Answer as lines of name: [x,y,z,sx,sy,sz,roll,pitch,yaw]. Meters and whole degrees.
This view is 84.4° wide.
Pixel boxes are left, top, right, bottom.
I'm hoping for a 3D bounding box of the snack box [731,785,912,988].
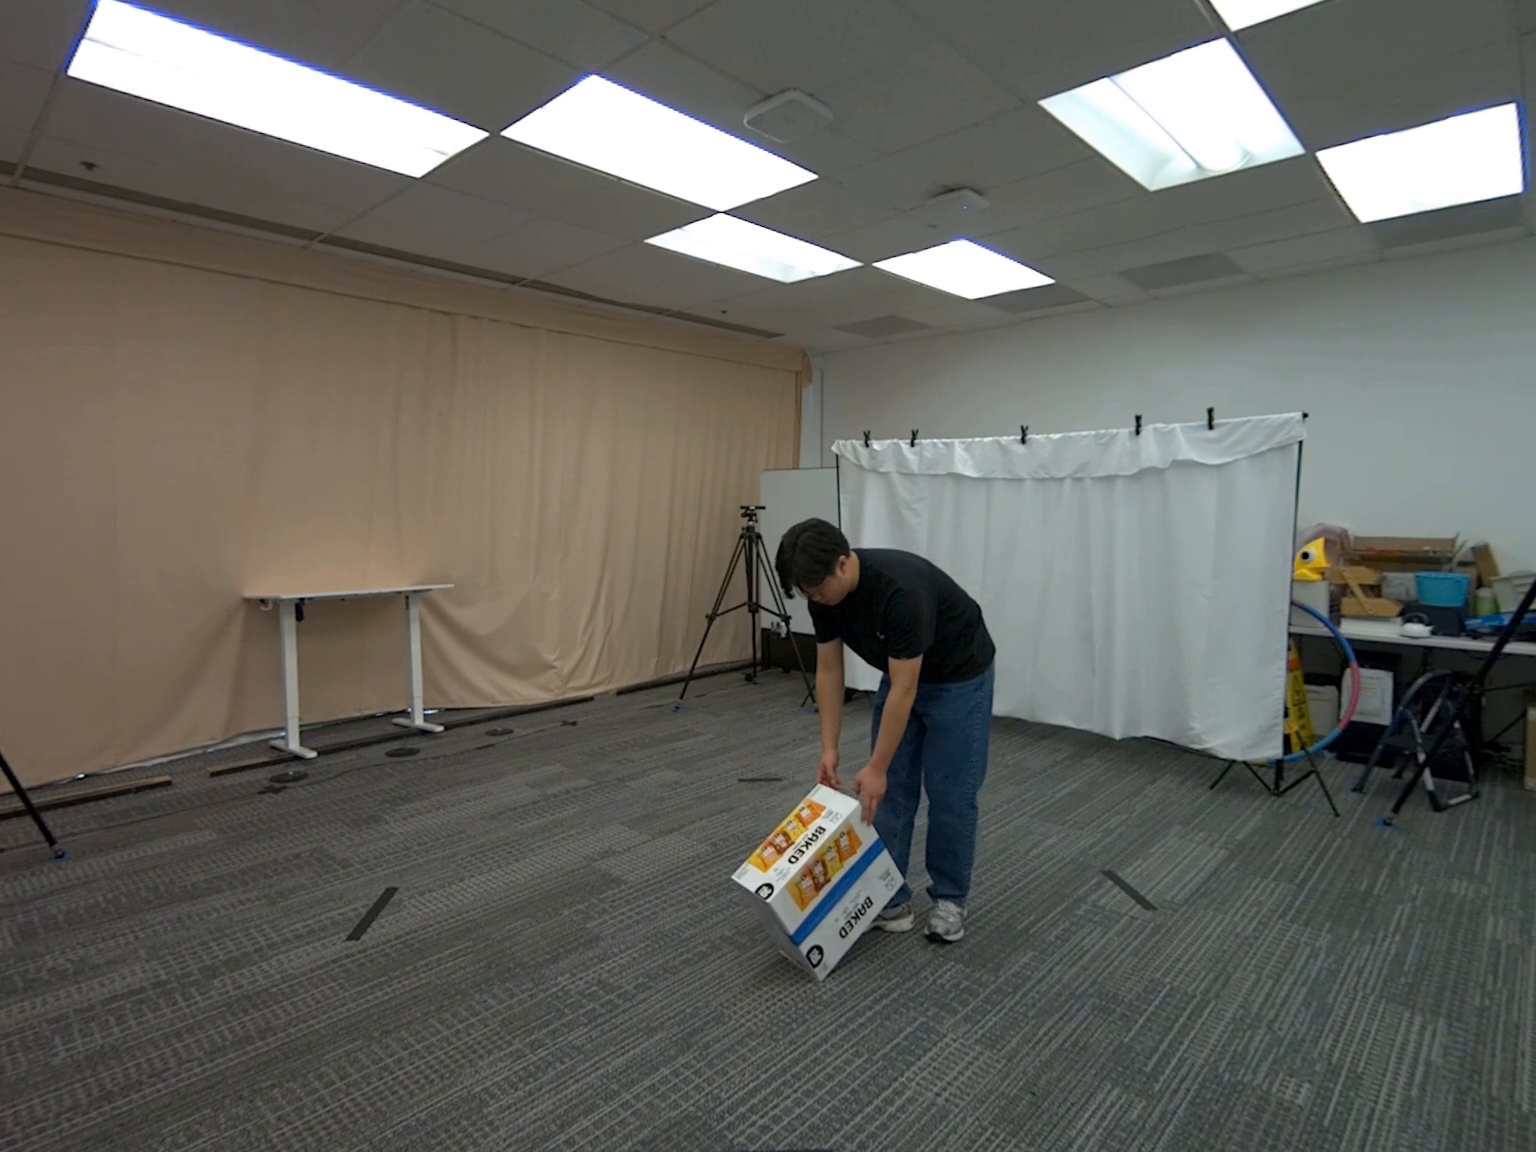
snack box: [0.165,0.925,2.565,0.401,0.334,0.212,-40,21,-24]
